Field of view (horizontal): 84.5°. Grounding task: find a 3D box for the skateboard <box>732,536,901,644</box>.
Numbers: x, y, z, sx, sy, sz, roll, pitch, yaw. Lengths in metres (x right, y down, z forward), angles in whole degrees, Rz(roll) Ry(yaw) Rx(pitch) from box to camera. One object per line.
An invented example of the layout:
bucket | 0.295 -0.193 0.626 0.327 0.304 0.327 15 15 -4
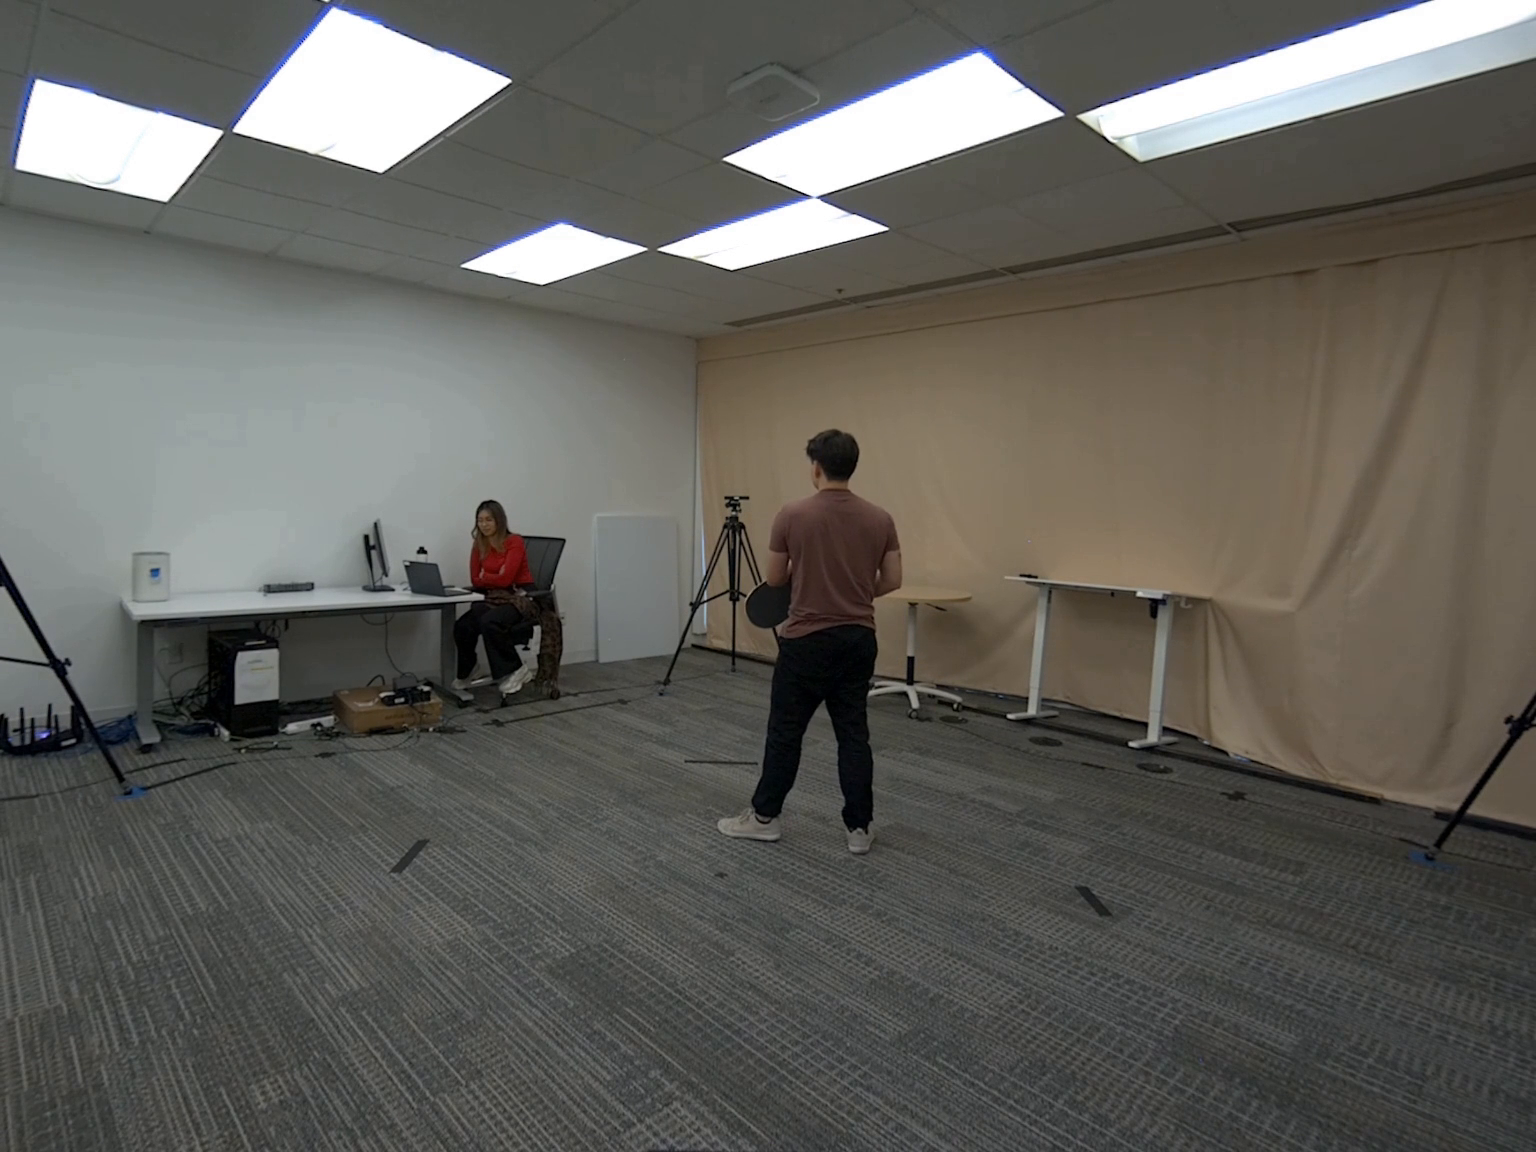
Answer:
skateboard | 0.217 -0.014 3.755 0.783 0.194 0.110 -35 -3 -15
